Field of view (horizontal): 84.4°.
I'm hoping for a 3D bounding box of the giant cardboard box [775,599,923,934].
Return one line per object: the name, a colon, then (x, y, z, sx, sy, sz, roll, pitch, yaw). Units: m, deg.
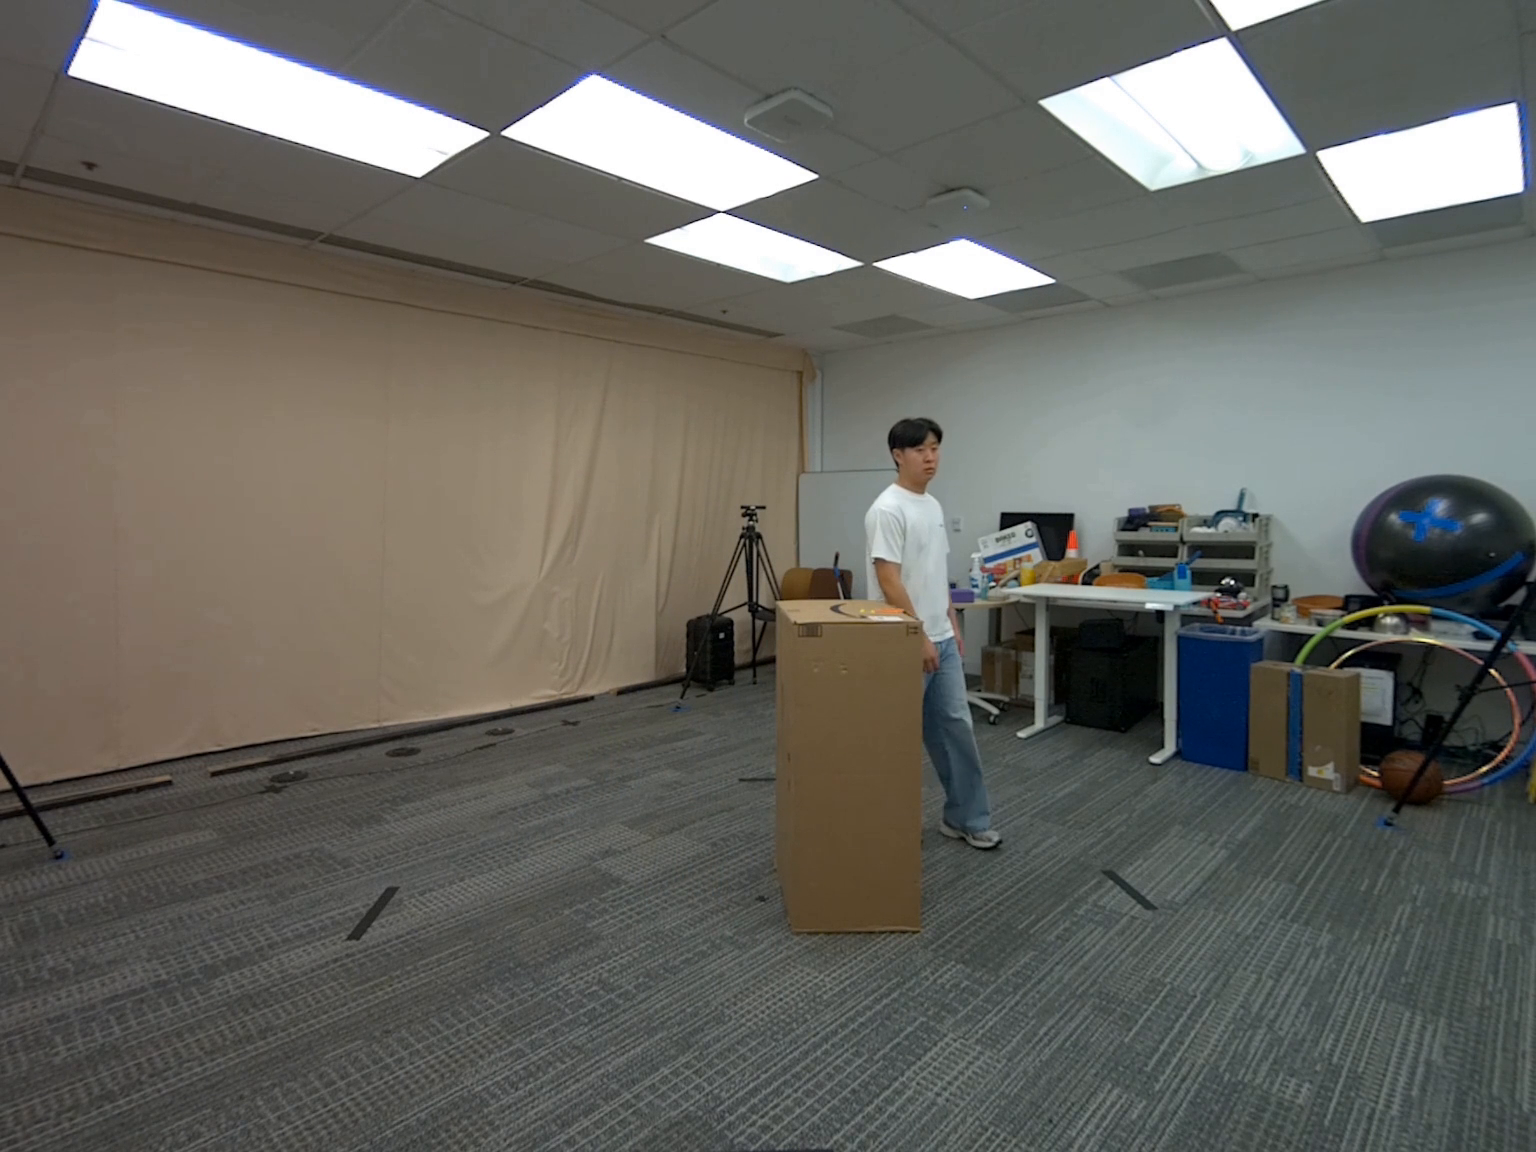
giant cardboard box: (0.268, 0.633, 2.994, 0.425, 1.024, 0.581, 0, 3, -4)
